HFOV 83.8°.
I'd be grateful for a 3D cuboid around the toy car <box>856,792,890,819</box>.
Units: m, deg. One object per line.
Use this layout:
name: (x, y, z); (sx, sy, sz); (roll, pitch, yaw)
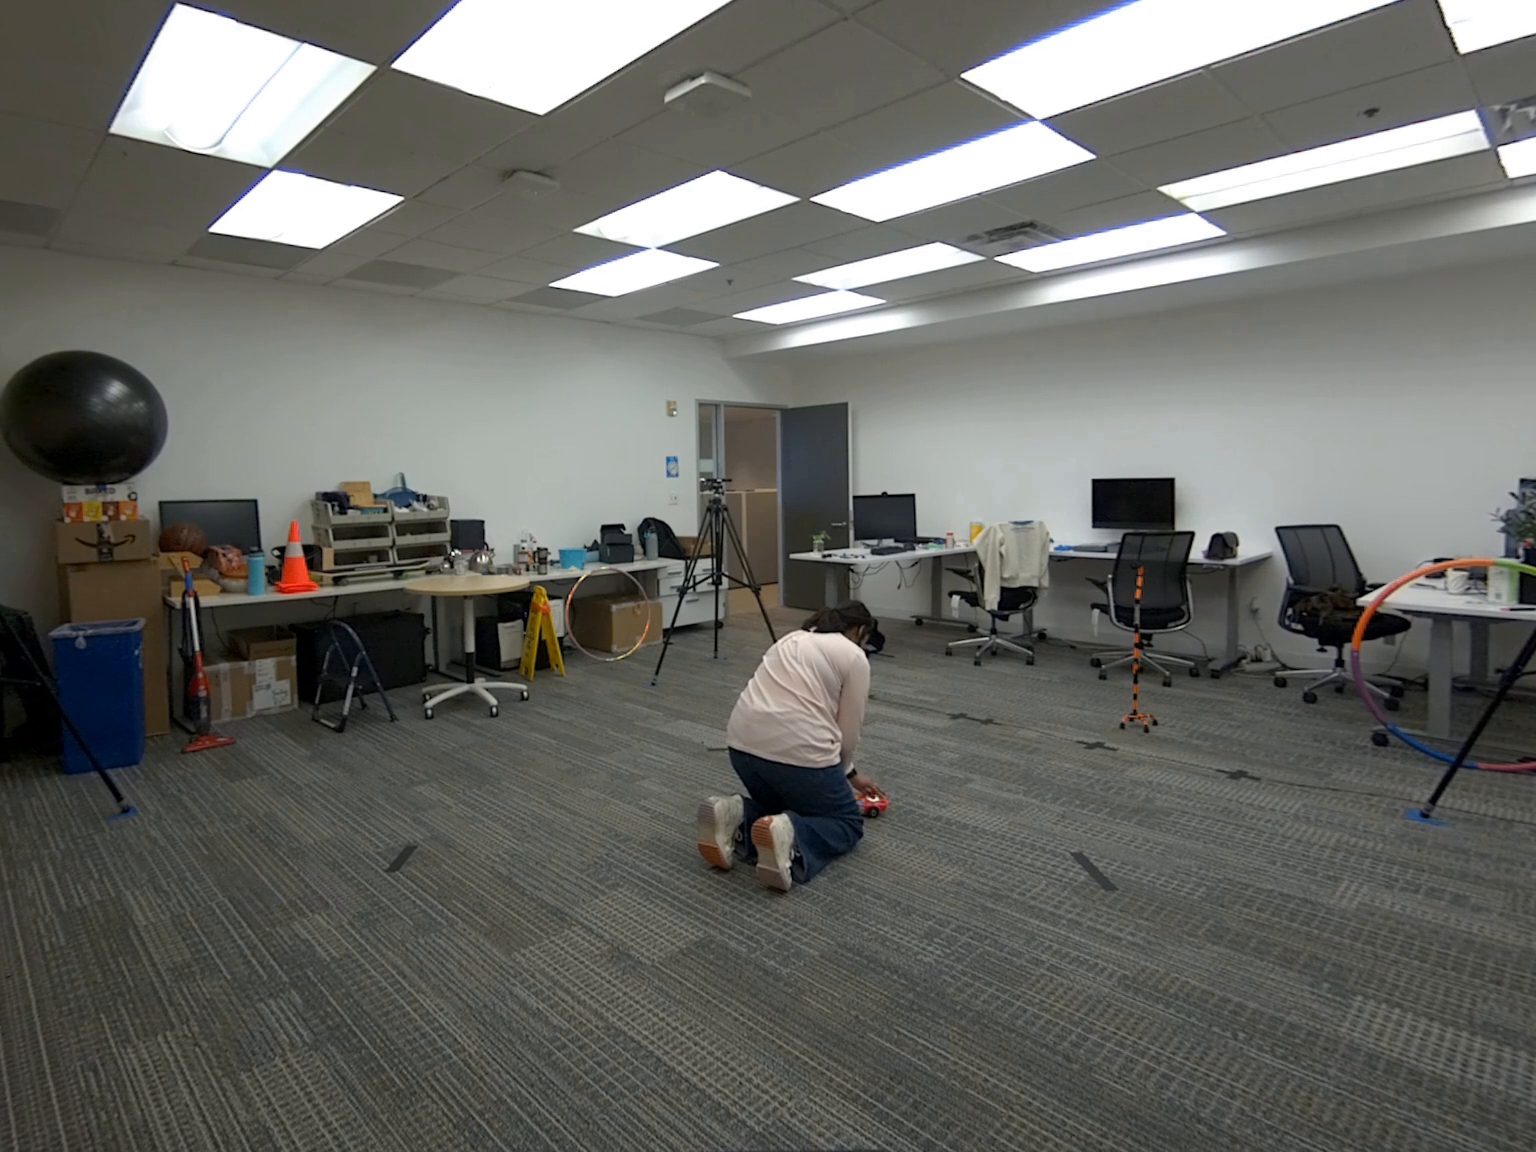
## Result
toy car: (0.380, 0.954, 3.552); (0.254, 0.083, 0.131); (-12, 6, -1)
